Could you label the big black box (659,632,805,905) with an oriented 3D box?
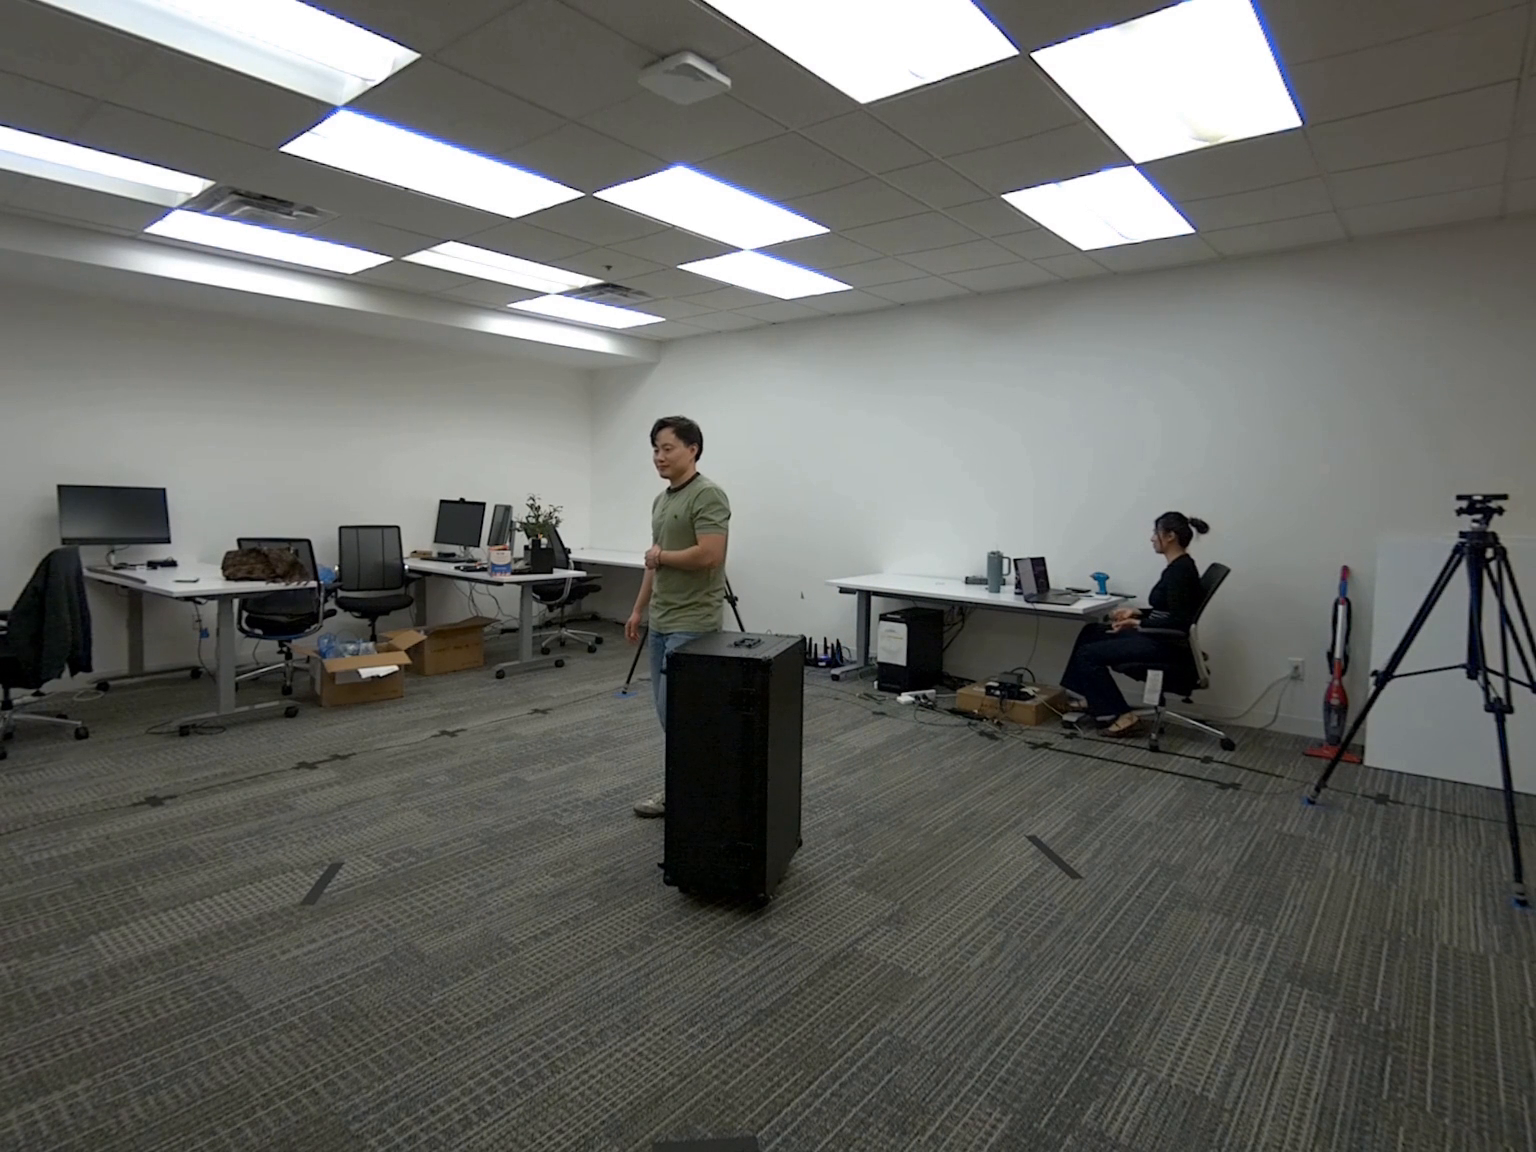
[{"bbox_3d":[-0.121,0.651,2.966,0.404,0.859,0.513,1,3,17],"label":"big black box"}]
